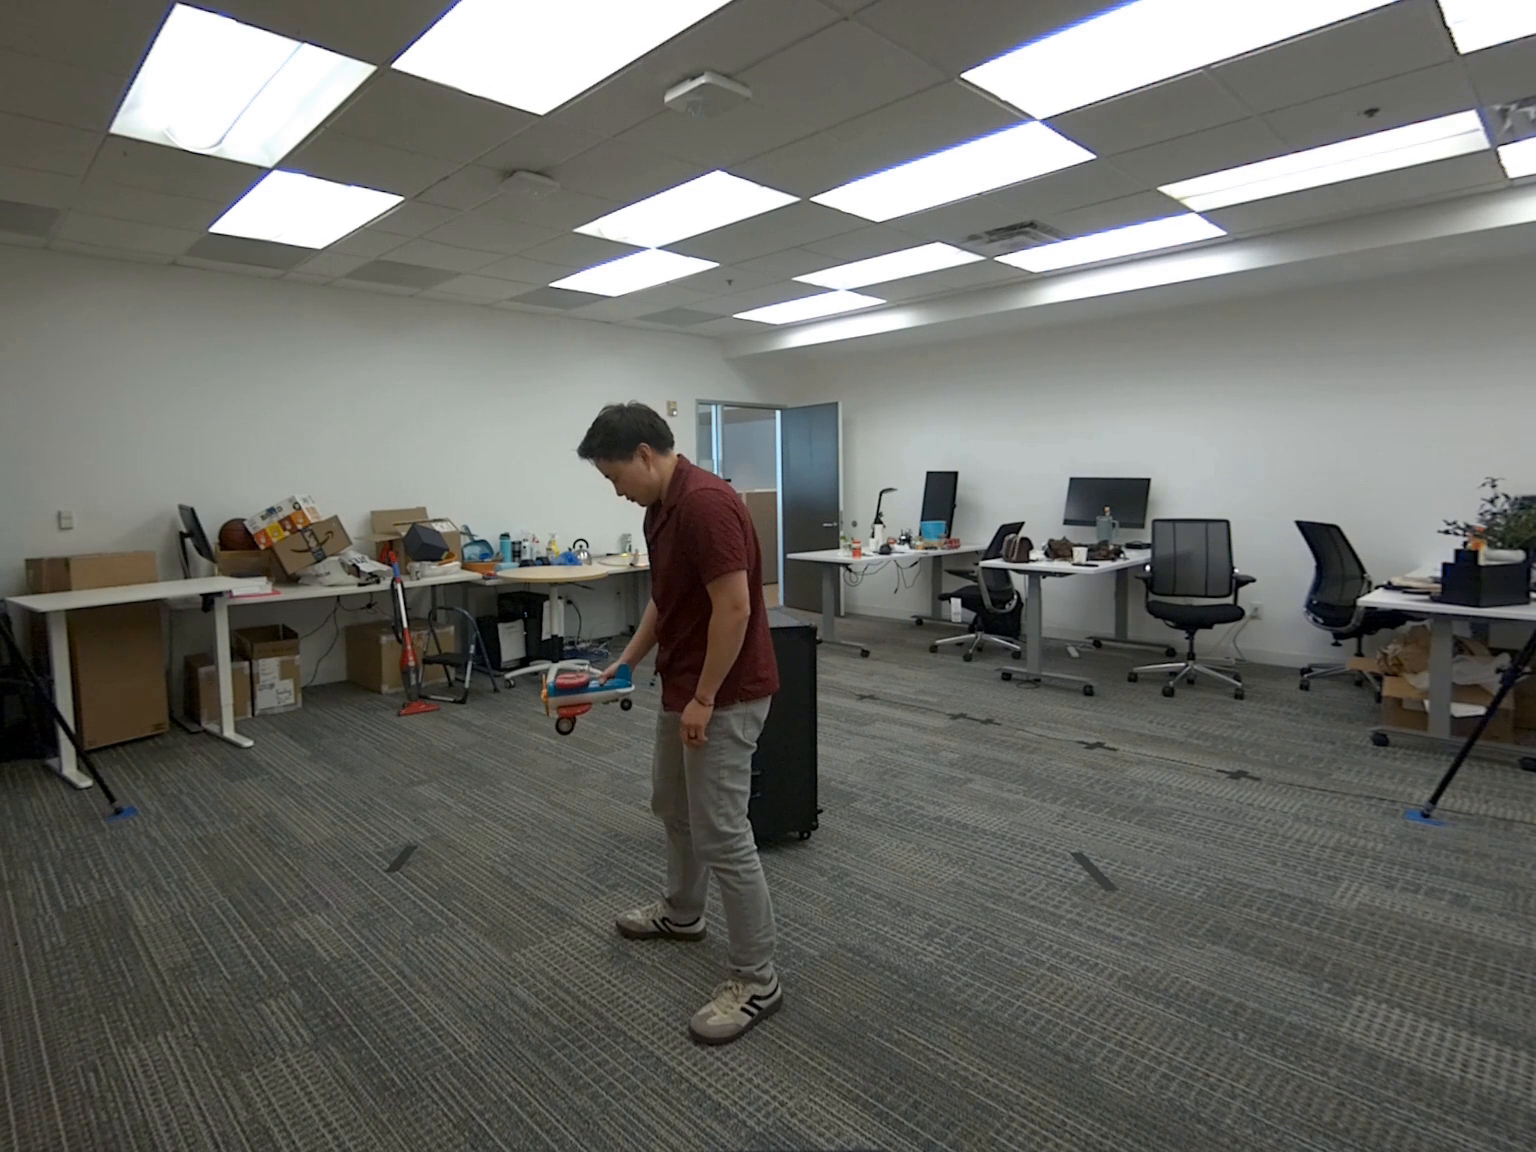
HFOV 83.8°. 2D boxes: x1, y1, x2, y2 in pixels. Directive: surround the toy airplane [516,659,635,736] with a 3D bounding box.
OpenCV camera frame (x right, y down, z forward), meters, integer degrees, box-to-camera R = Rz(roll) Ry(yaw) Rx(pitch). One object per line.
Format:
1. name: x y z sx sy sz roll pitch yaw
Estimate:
1. toy airplane: -0.508 0.344 2.442 0.255 0.156 0.255 -22 3 -36
